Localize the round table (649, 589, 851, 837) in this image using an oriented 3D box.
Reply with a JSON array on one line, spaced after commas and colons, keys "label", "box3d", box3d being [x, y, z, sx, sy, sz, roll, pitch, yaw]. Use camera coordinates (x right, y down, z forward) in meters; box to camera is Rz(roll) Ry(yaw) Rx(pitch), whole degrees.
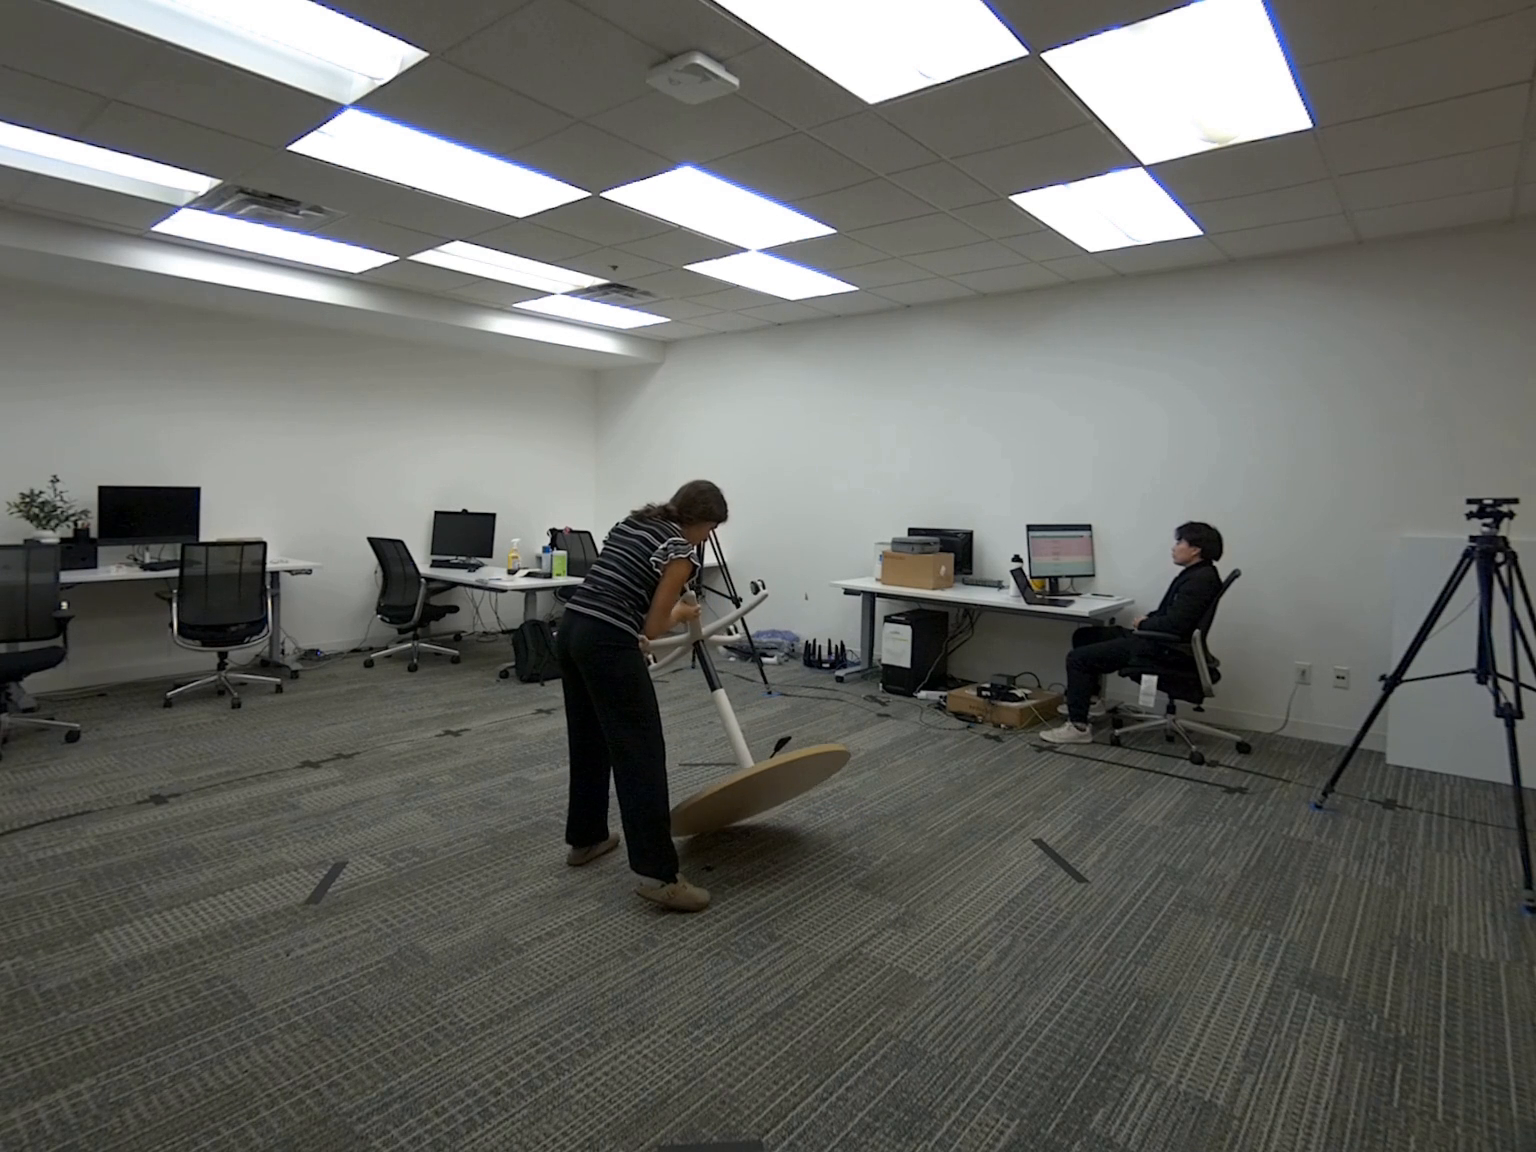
[{"label": "round table", "box3d": [-0.201, 0.491, 3.398, 0.758, 0.819, 0.746, -19, -26, -11]}]
